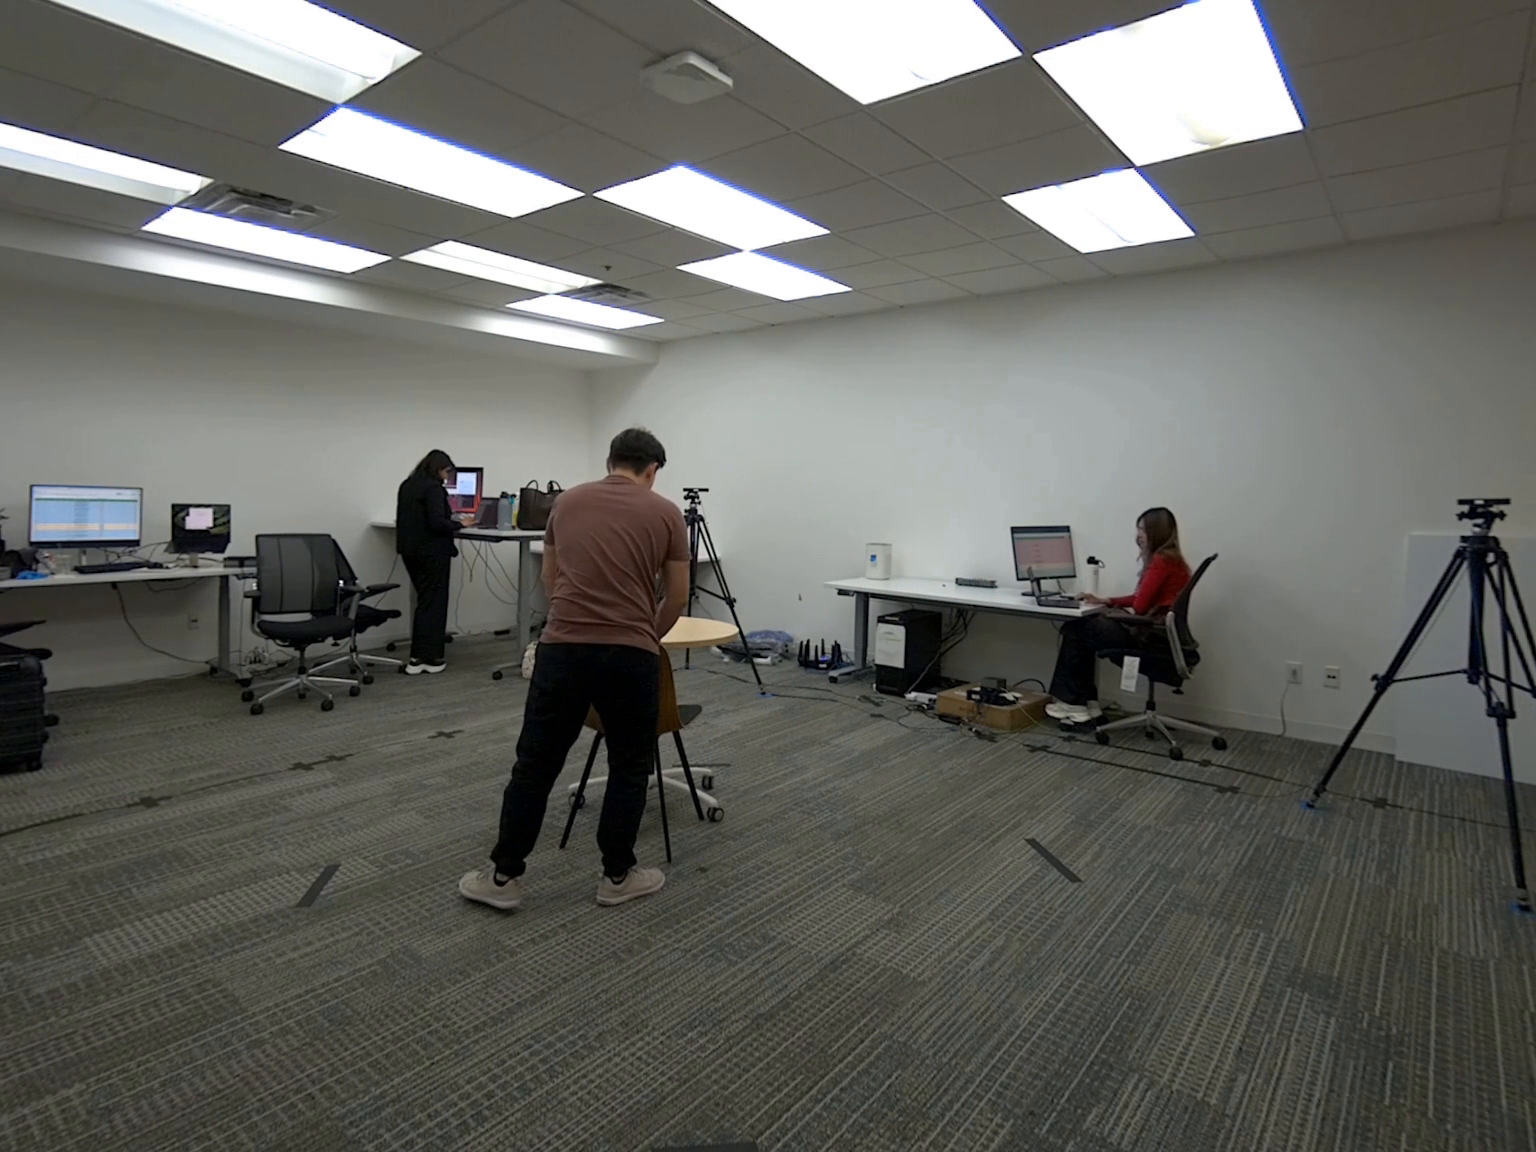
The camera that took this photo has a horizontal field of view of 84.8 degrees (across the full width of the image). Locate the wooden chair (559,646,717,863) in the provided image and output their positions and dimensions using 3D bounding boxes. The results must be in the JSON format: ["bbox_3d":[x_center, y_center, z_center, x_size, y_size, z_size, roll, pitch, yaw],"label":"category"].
[{"bbox_3d":[-0.539,0.604,3.402,0.486,0.871,0.518,1,7,14],"label":"wooden chair"}]
